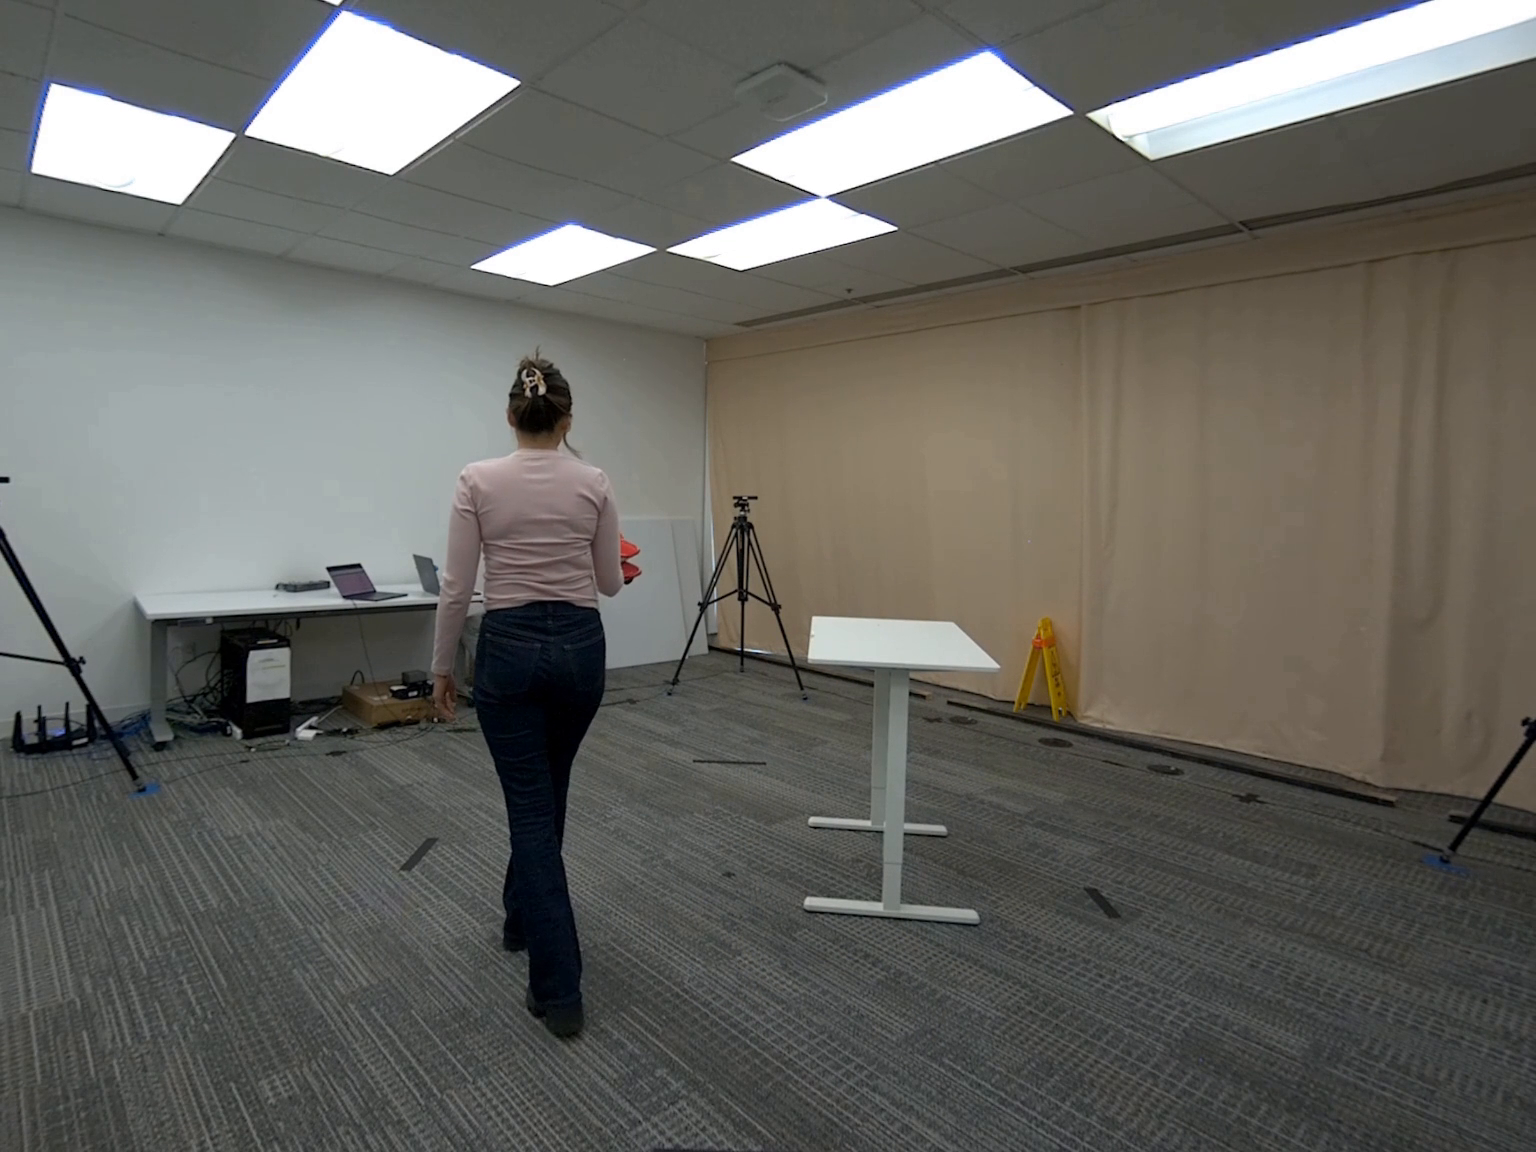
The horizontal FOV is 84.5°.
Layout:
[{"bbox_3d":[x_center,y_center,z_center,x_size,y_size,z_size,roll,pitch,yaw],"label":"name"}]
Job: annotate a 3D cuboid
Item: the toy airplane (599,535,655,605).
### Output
[{"bbox_3d":[-0.547,-0.039,2.841,0.253,0.155,0.260,11,15,6],"label":"toy airplane"}]
